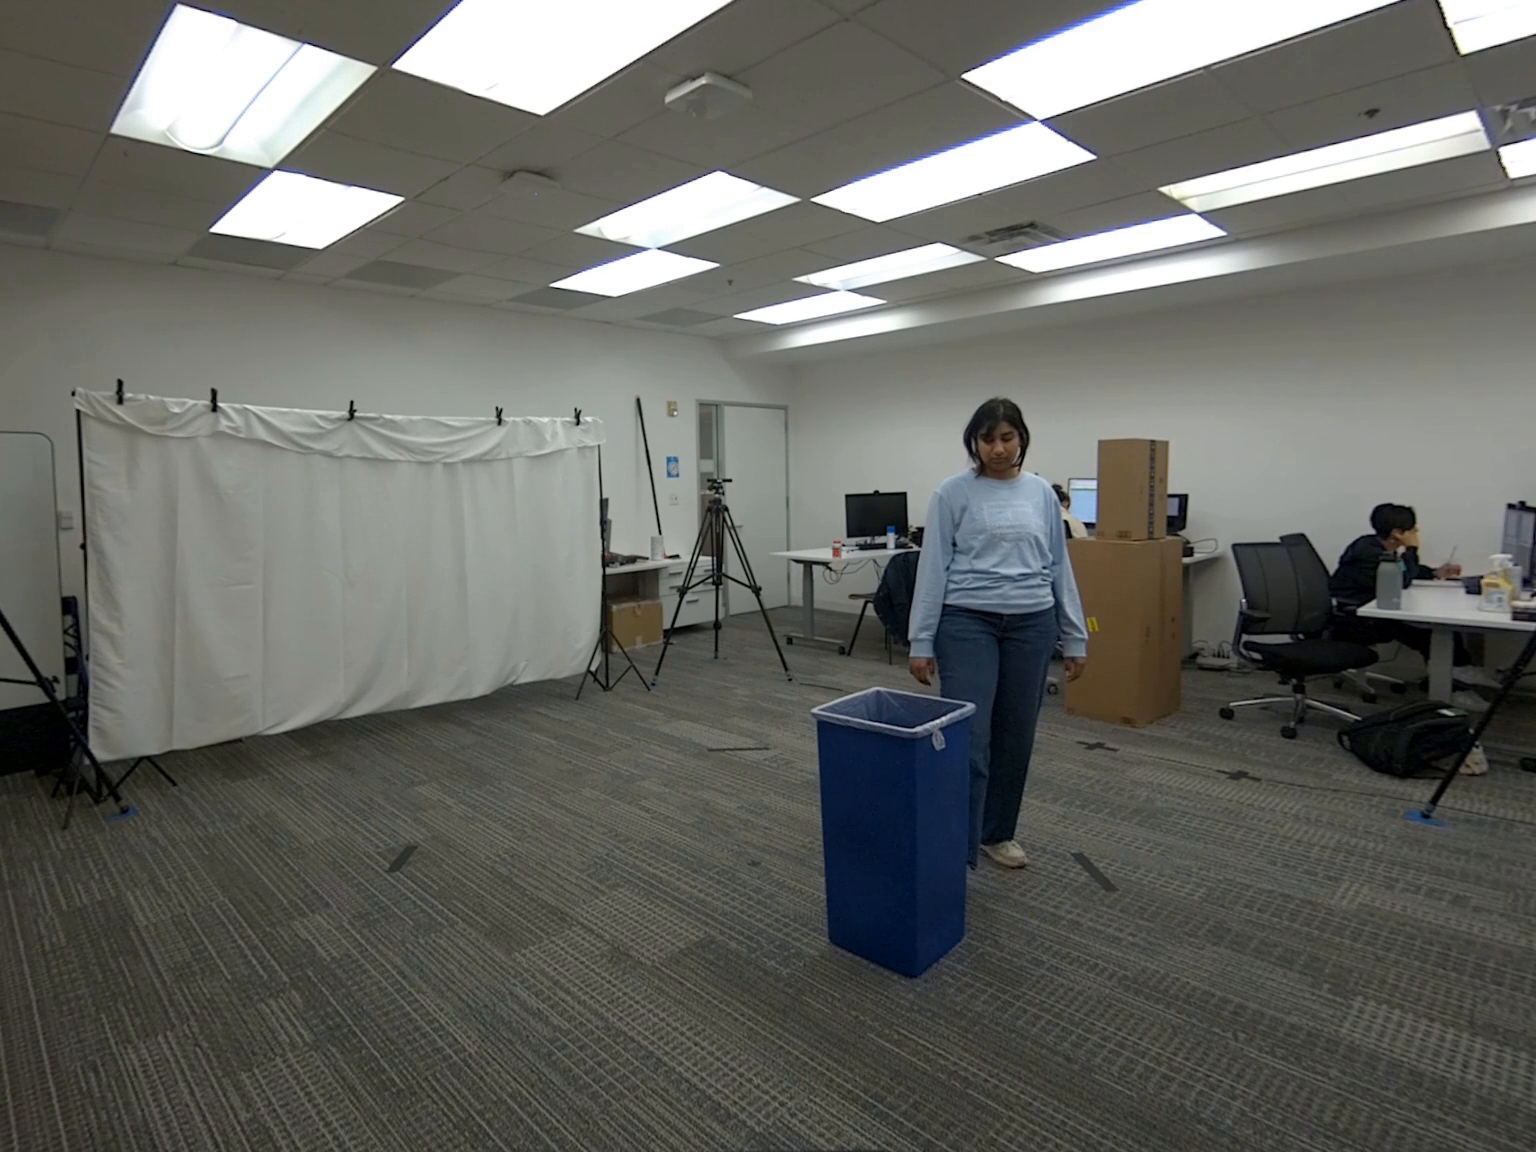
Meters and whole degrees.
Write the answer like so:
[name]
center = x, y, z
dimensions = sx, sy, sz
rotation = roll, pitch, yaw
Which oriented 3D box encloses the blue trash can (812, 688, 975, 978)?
[blue trash can]
center = 0.386, 0.742, 2.567
dimensions = 0.389, 0.711, 0.364
rotation = 1, 5, 41
